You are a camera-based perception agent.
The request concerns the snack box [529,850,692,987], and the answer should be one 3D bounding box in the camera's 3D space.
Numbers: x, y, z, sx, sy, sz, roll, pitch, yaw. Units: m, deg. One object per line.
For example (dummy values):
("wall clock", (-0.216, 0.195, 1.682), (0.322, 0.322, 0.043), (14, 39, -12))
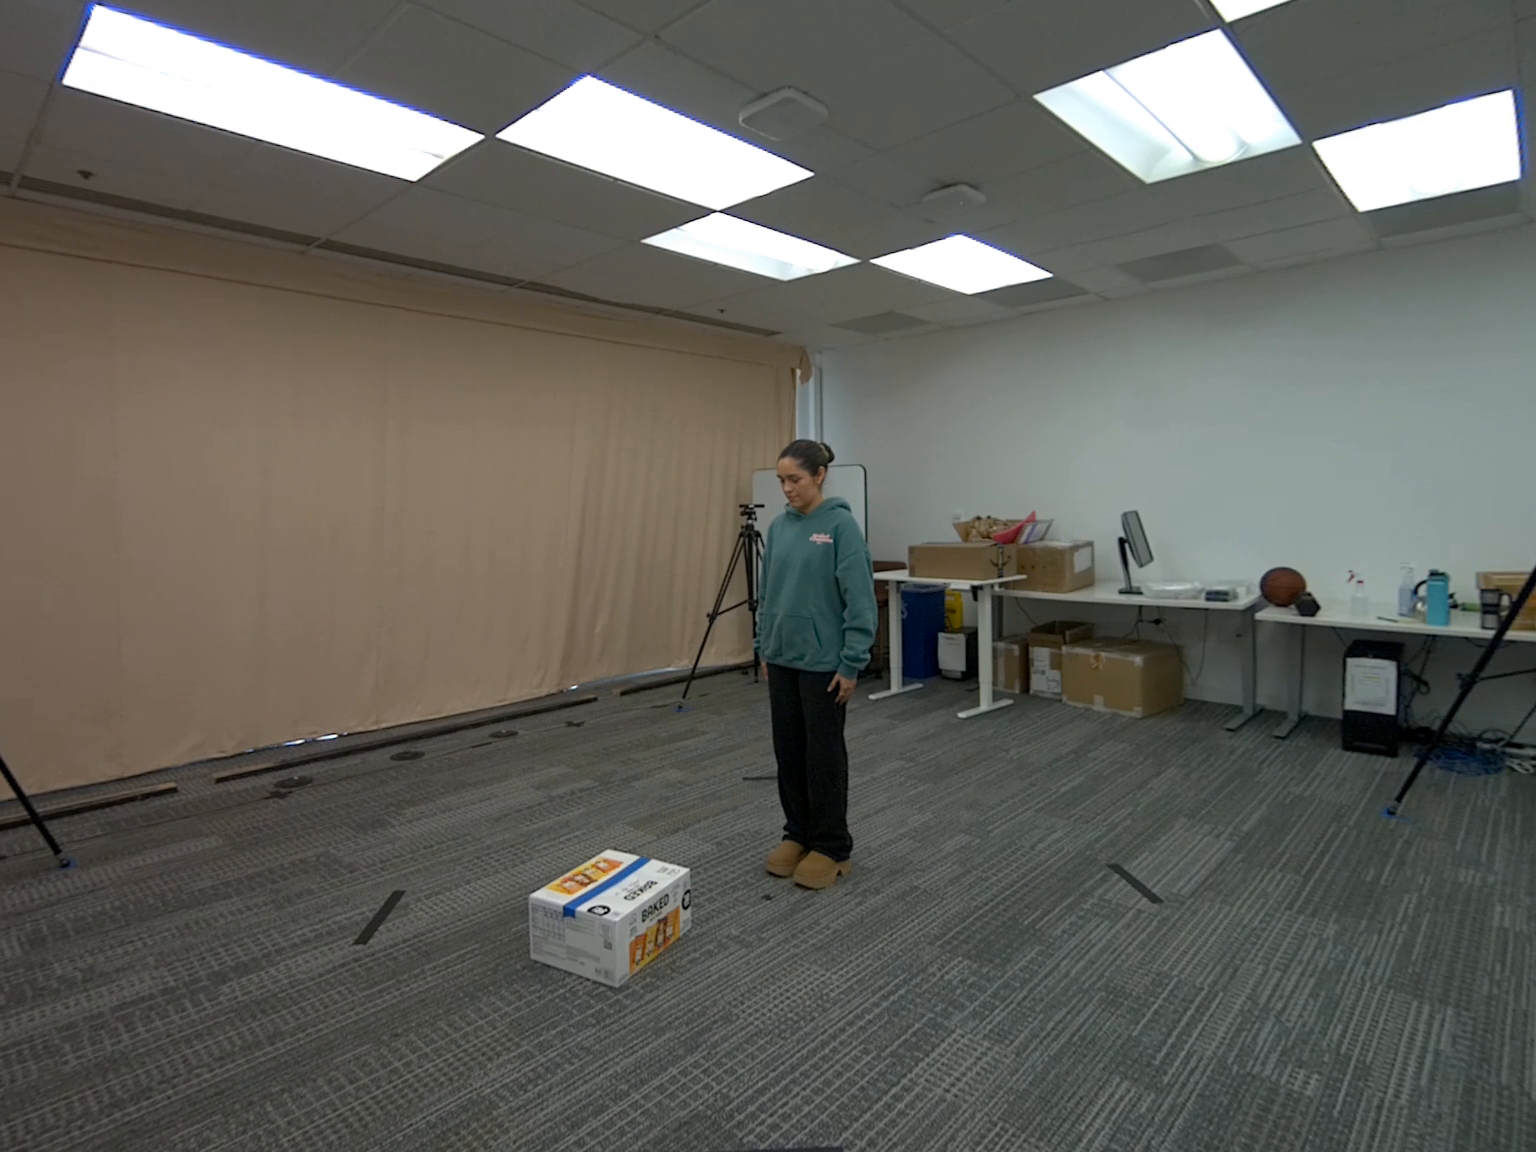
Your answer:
("snack box", (-0.494, 1.076, 2.680), (0.350, 0.205, 0.395), (1, 5, 29))
